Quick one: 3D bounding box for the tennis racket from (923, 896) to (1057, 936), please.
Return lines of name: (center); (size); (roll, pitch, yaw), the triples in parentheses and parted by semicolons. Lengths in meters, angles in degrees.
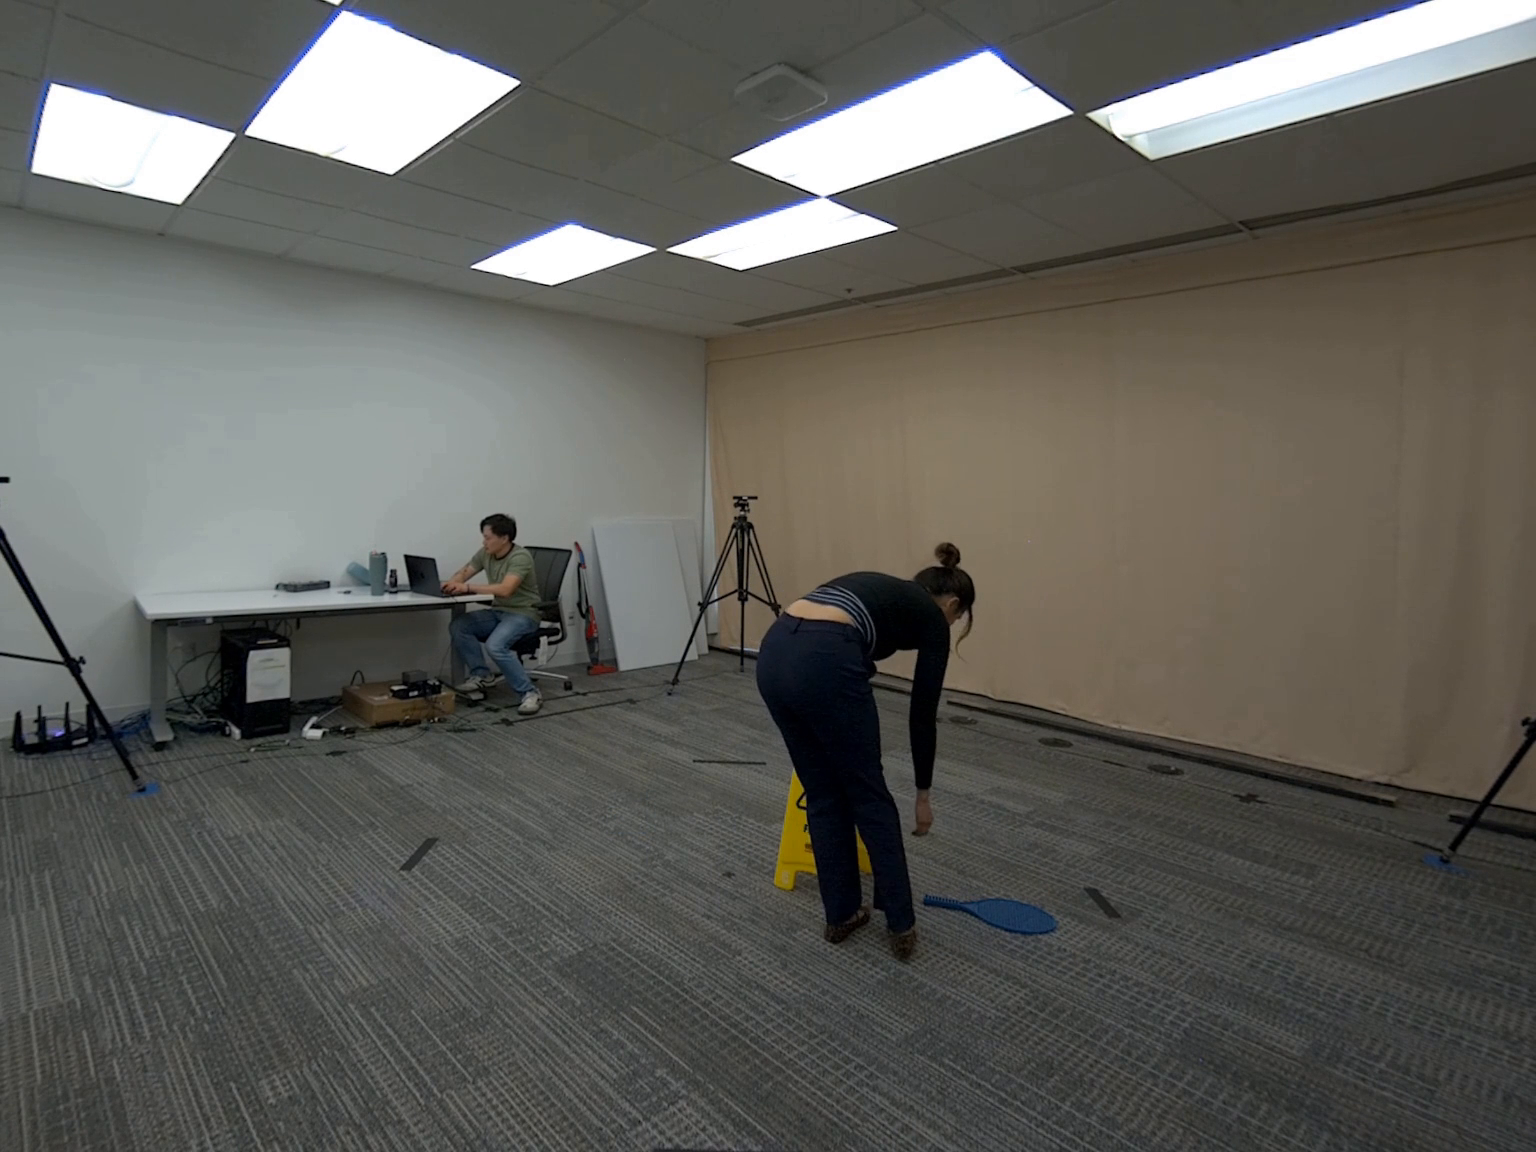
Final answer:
tennis racket: (0.740, 1.140, 2.856); (0.438, 0.031, 0.212); (4, 6, 14)
